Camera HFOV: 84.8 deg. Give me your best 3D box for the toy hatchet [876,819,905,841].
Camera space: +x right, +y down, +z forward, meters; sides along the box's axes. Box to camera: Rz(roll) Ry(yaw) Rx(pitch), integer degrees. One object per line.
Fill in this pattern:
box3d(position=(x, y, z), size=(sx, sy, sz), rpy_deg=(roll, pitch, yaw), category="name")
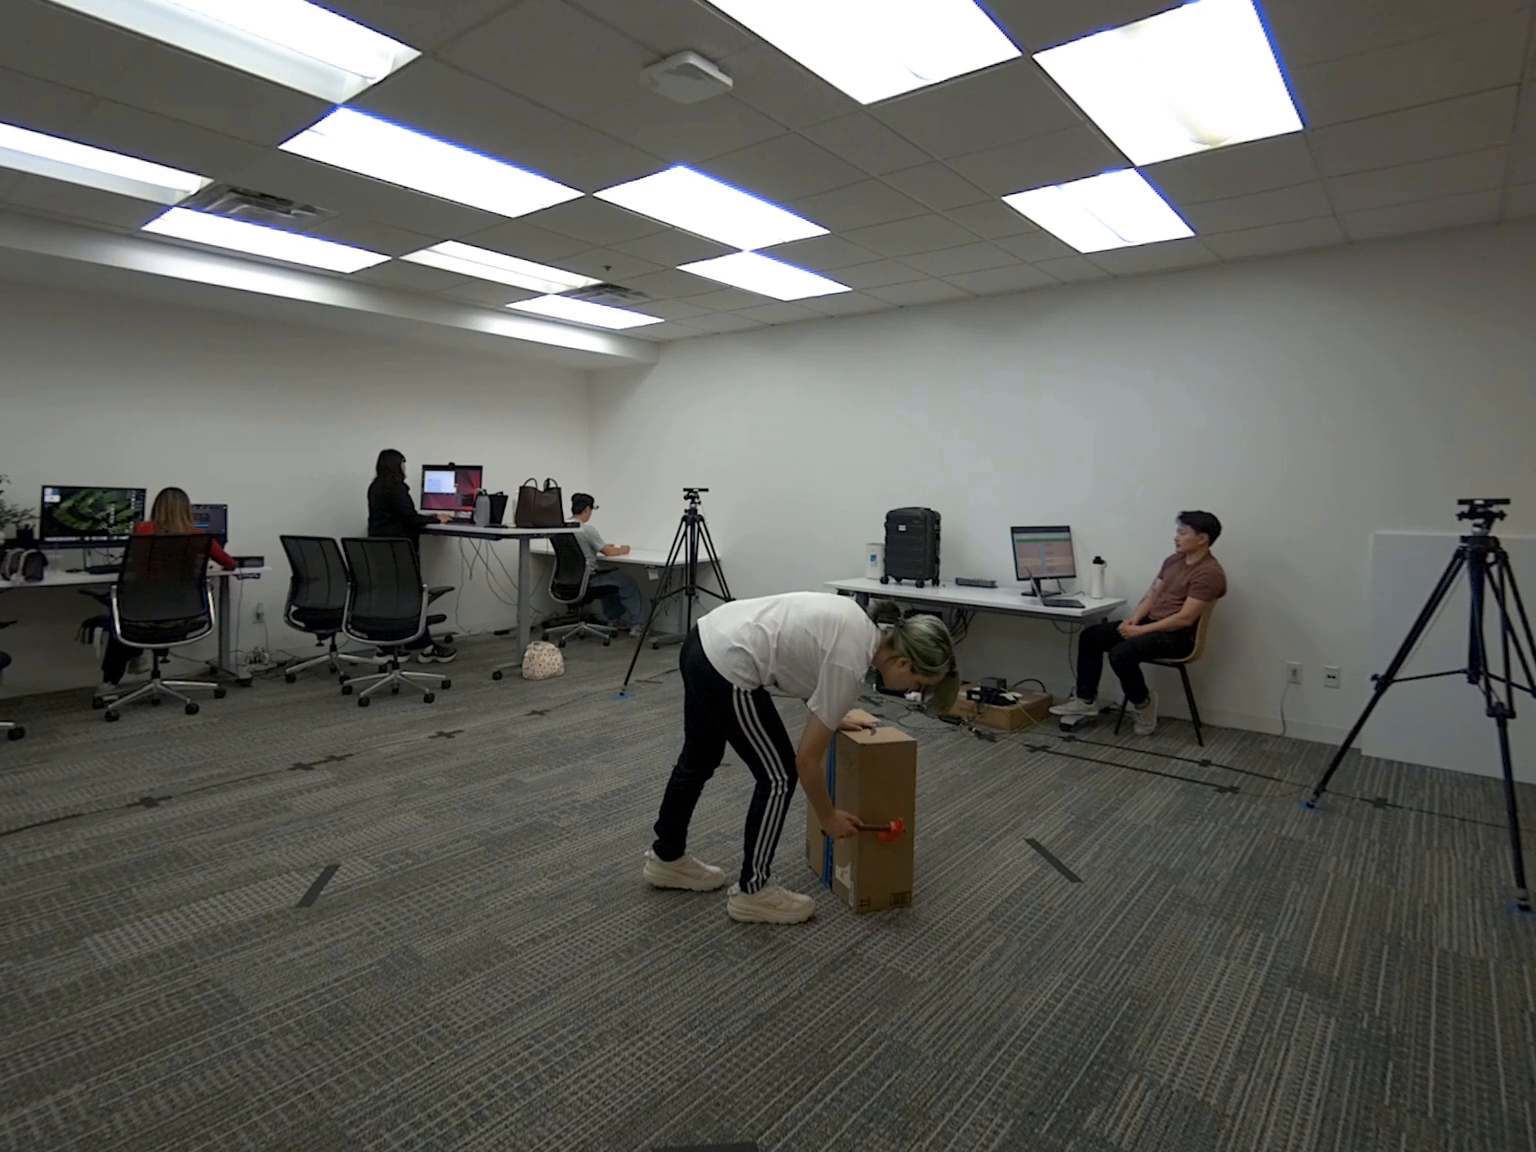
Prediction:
box3d(position=(0.308, 0.840, 2.796), size=(0.272, 0.126, 0.030), rpy_deg=(-6, 42, 8), category="toy hatchet")
